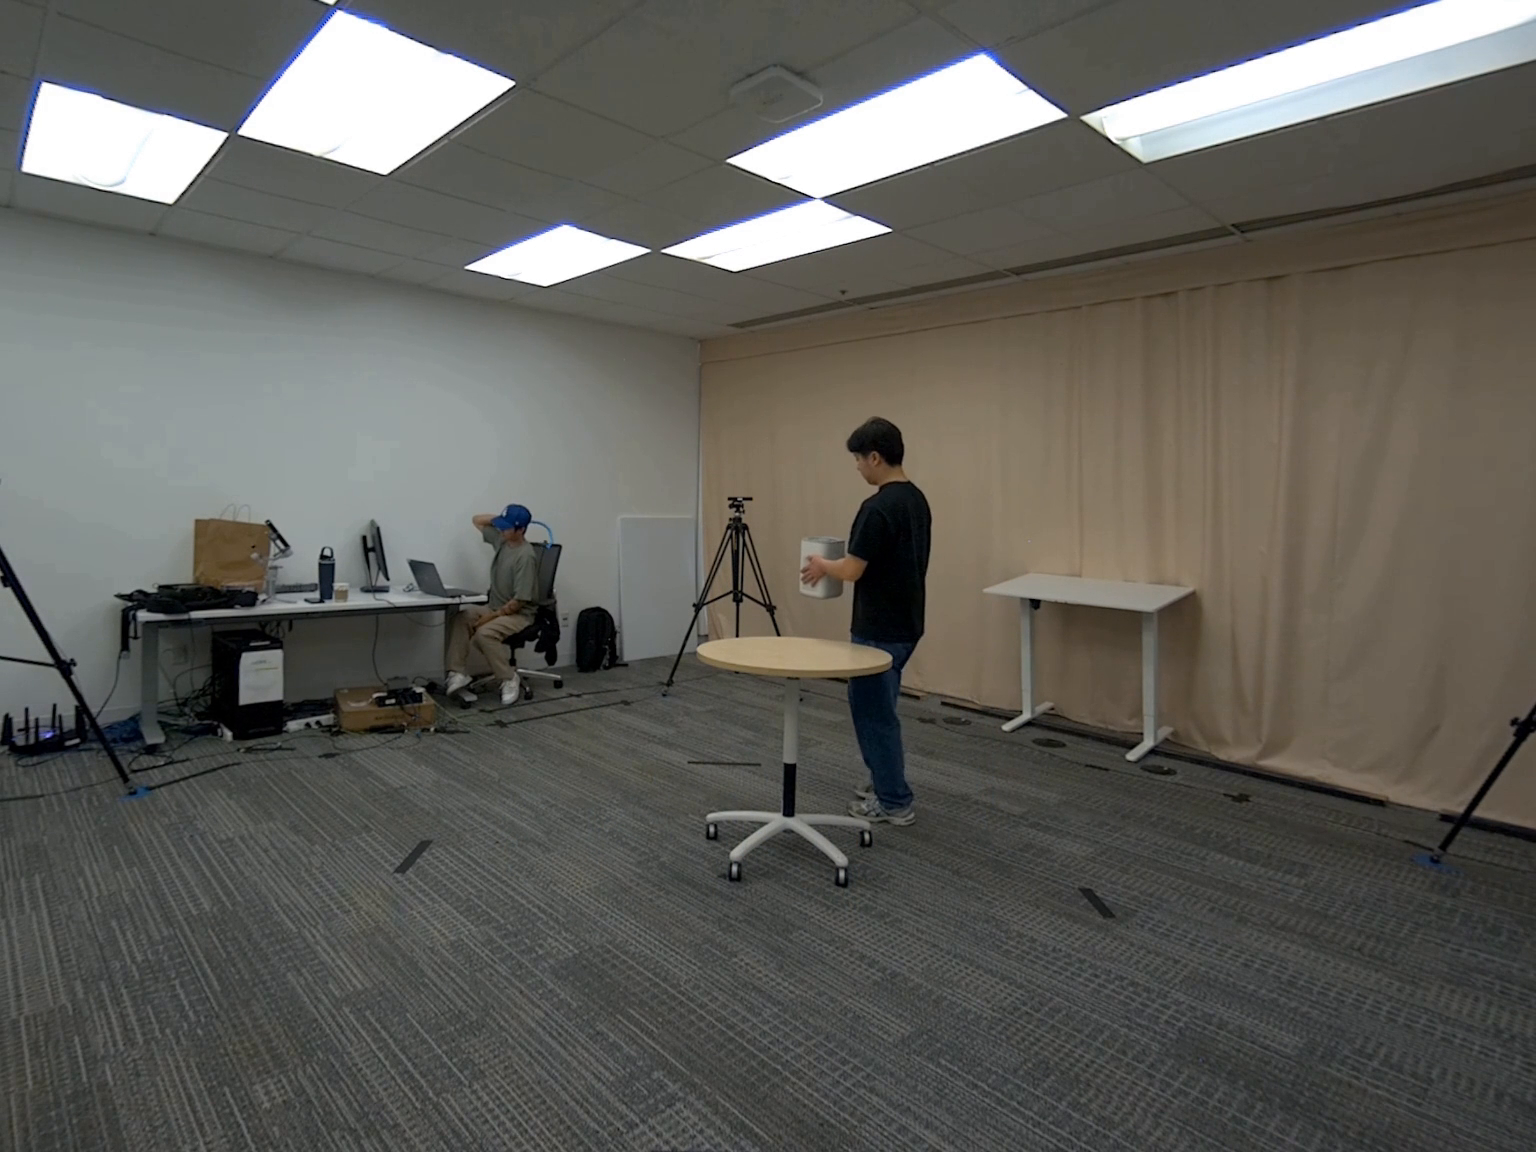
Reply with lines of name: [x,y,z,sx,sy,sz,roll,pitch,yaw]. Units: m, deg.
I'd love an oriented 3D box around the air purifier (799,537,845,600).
air purifier: [0.244,-0.038,3.853,0.176,0.264,0.167,10,12,43]
